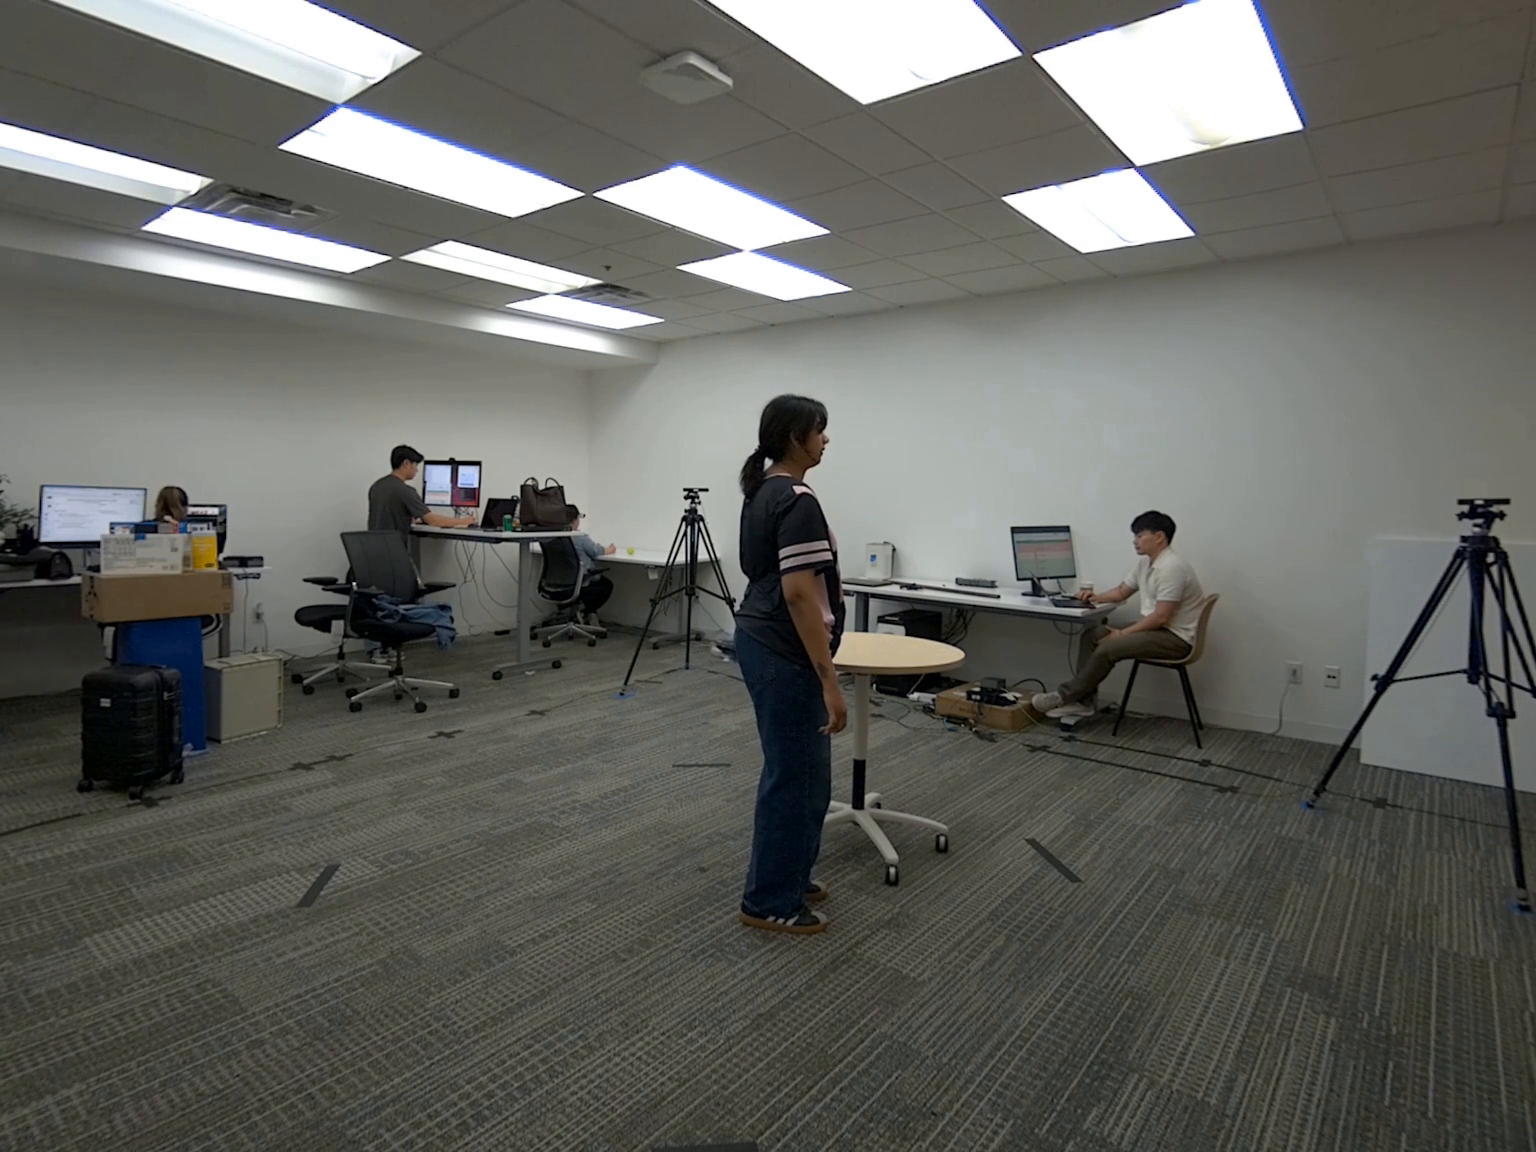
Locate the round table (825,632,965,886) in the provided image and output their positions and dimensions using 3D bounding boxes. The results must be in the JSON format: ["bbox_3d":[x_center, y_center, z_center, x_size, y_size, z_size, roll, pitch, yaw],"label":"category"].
[{"bbox_3d":[0.358,0.667,3.344,0.784,0.785,0.788,1,3,-2],"label":"round table"}]
